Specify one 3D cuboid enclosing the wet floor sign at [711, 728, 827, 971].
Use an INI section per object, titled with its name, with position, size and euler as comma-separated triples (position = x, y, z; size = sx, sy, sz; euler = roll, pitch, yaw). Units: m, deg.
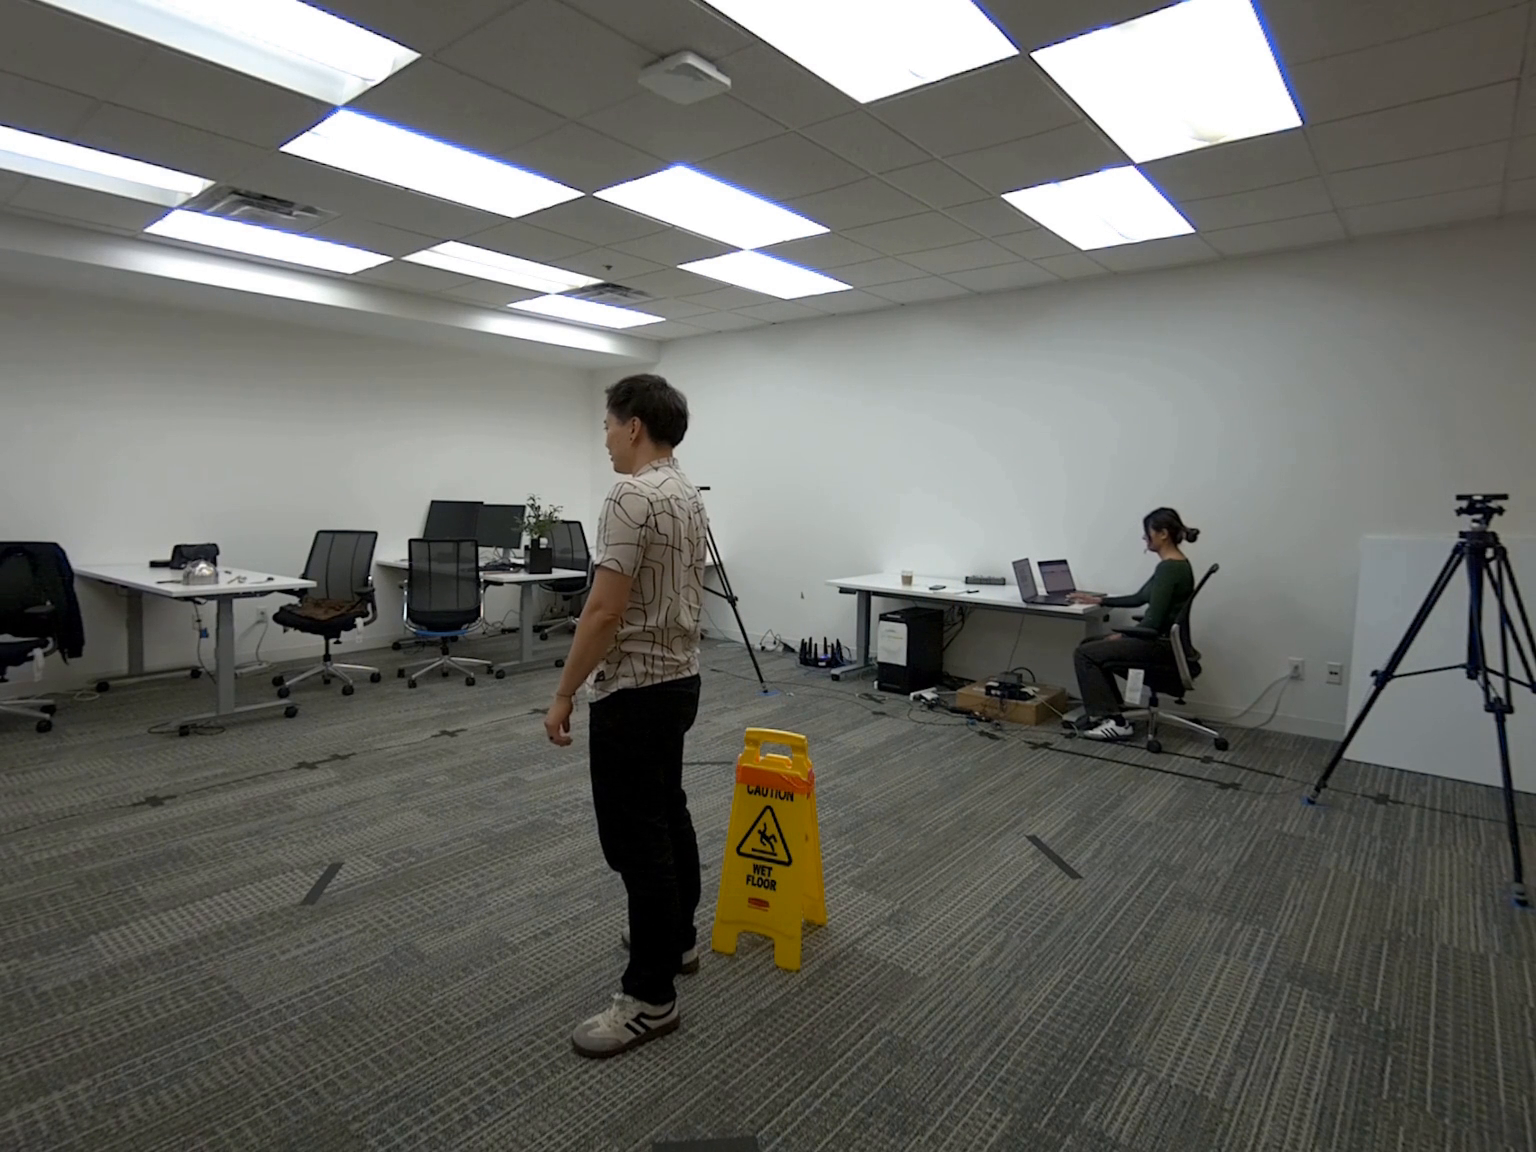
[wet floor sign]
position = 0.008, 0.793, 2.625
size = 0.289, 0.644, 0.284
euler = 4, 3, 22
